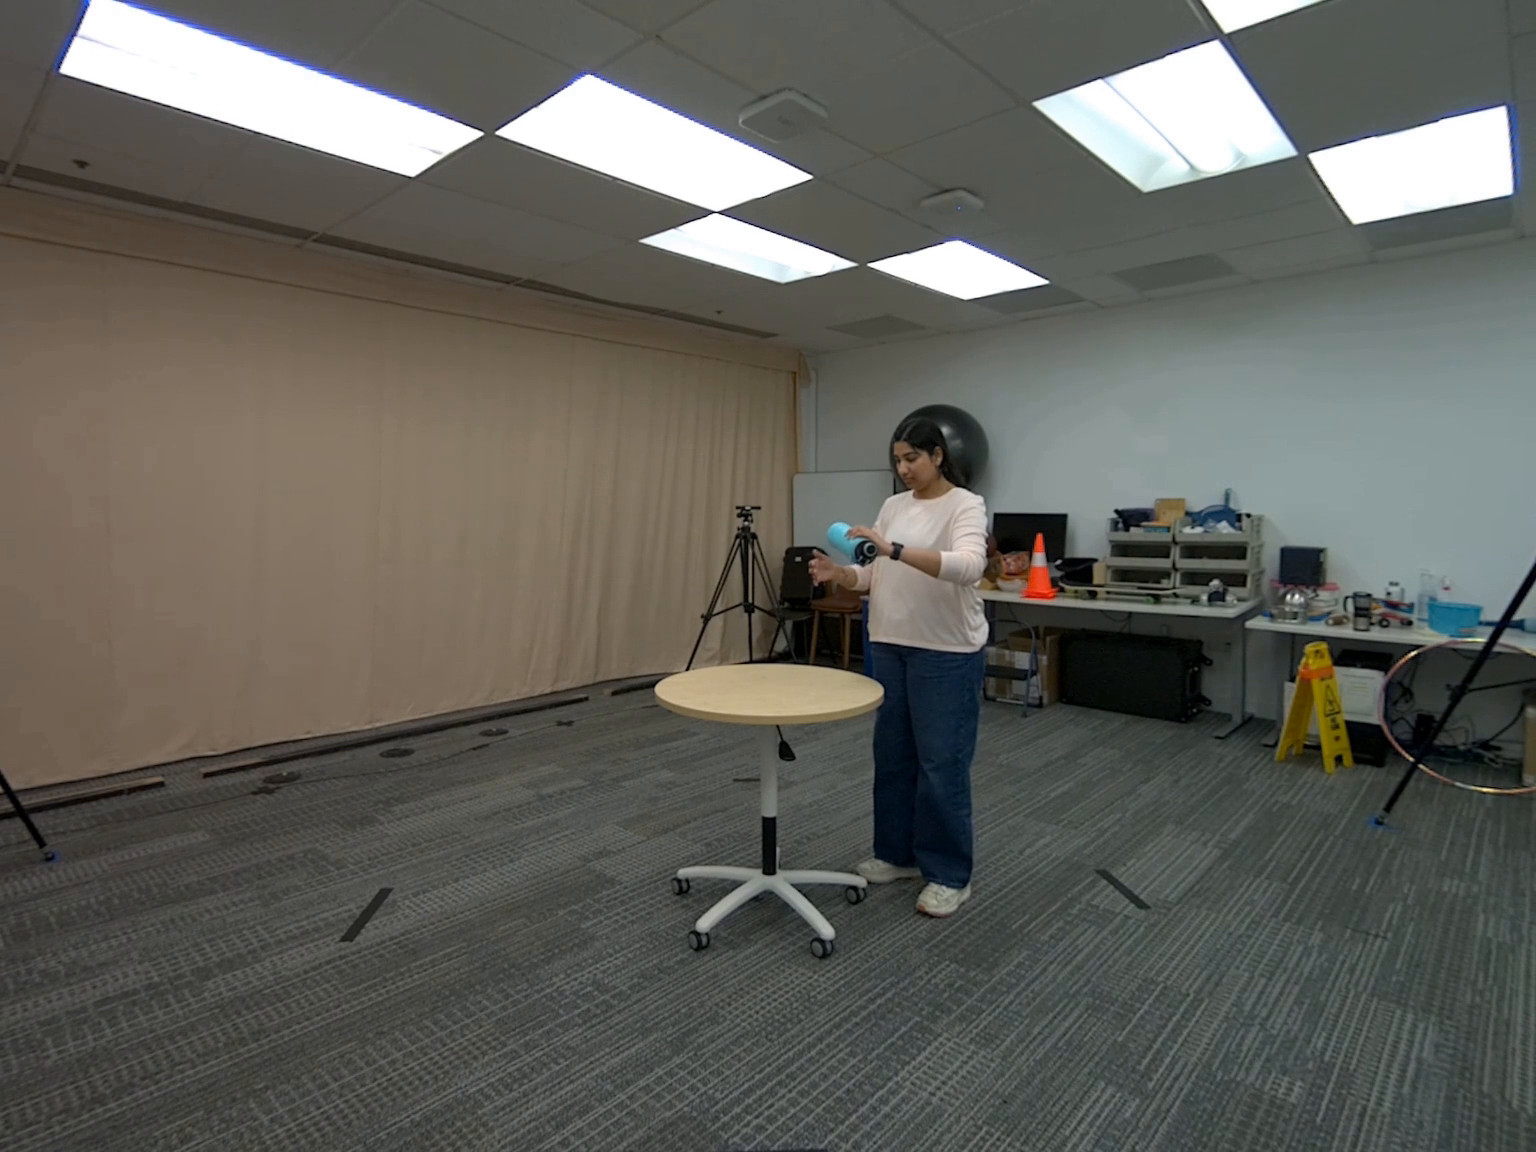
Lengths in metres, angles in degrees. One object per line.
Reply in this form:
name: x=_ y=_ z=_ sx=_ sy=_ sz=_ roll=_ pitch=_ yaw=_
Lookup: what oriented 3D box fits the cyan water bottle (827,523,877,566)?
cyan water bottle: x=0.290 y=-0.100 z=2.765 sx=0.091 sy=0.091 sz=0.290 roll=-1 pitch=17 yaw=-14
